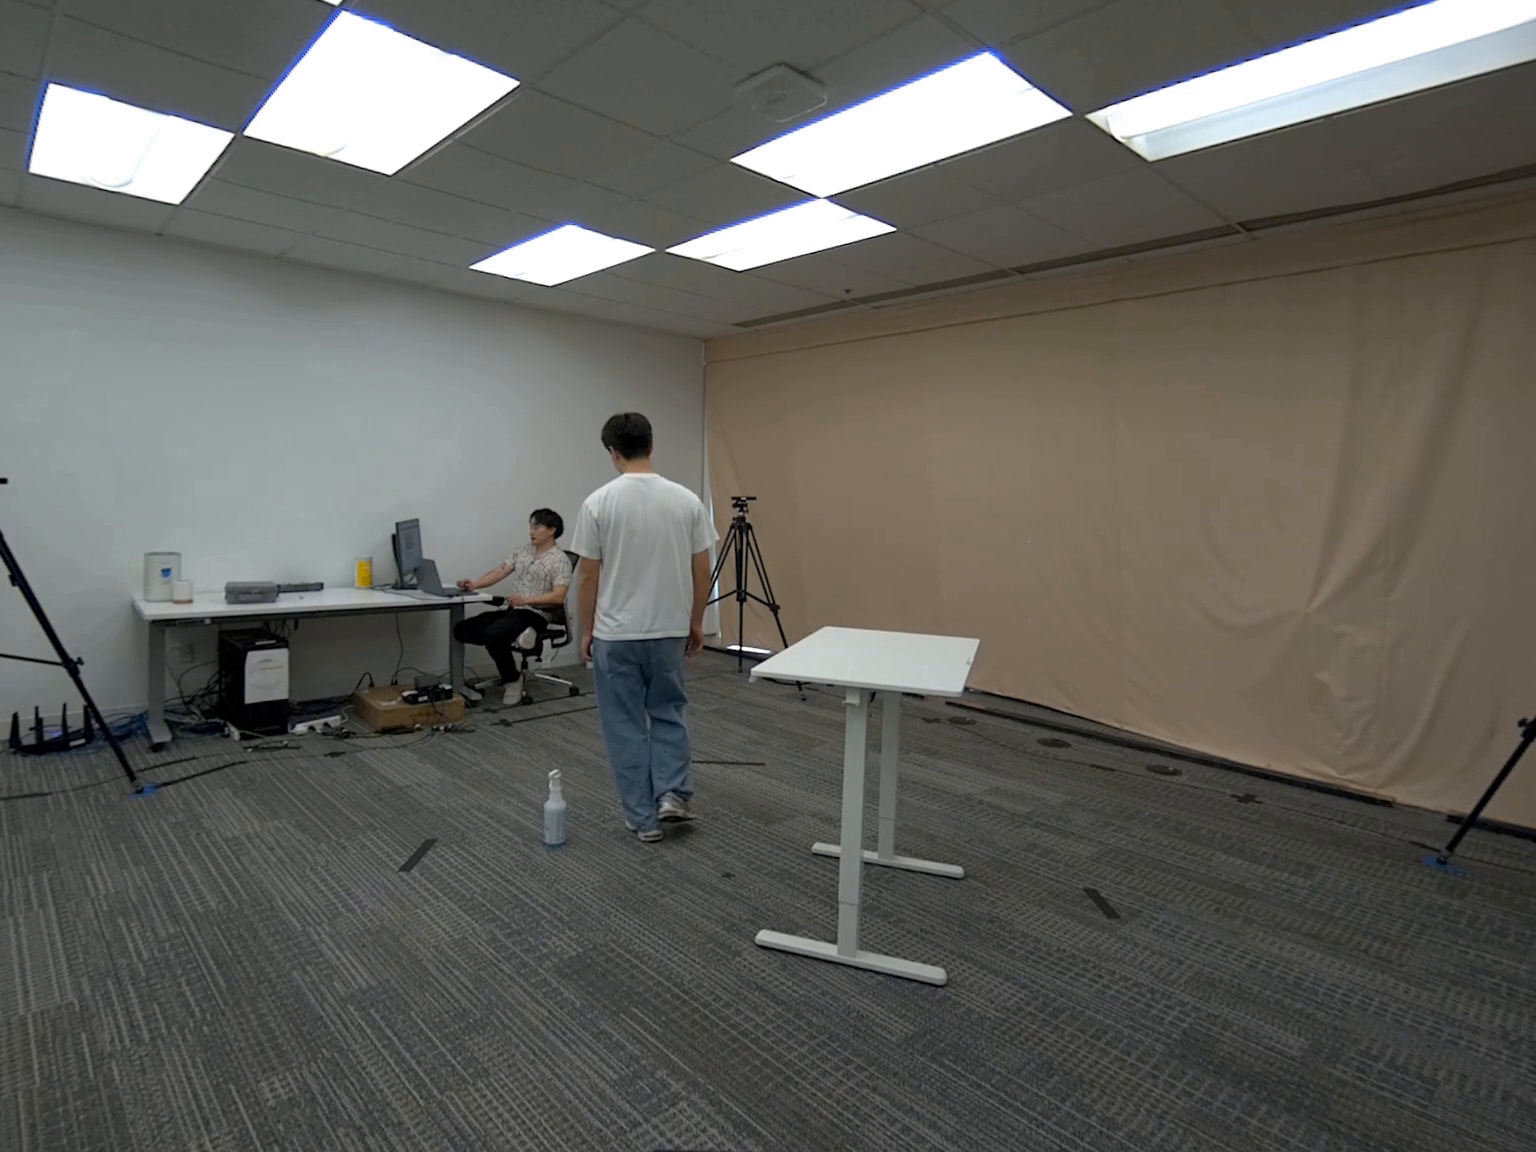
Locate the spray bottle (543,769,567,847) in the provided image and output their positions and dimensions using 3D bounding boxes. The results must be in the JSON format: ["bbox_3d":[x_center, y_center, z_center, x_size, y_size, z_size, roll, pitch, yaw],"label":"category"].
[{"bbox_3d":[-0.849,0.917,3.348,0.089,0.296,0.088,7,7,37],"label":"spray bottle"}]
